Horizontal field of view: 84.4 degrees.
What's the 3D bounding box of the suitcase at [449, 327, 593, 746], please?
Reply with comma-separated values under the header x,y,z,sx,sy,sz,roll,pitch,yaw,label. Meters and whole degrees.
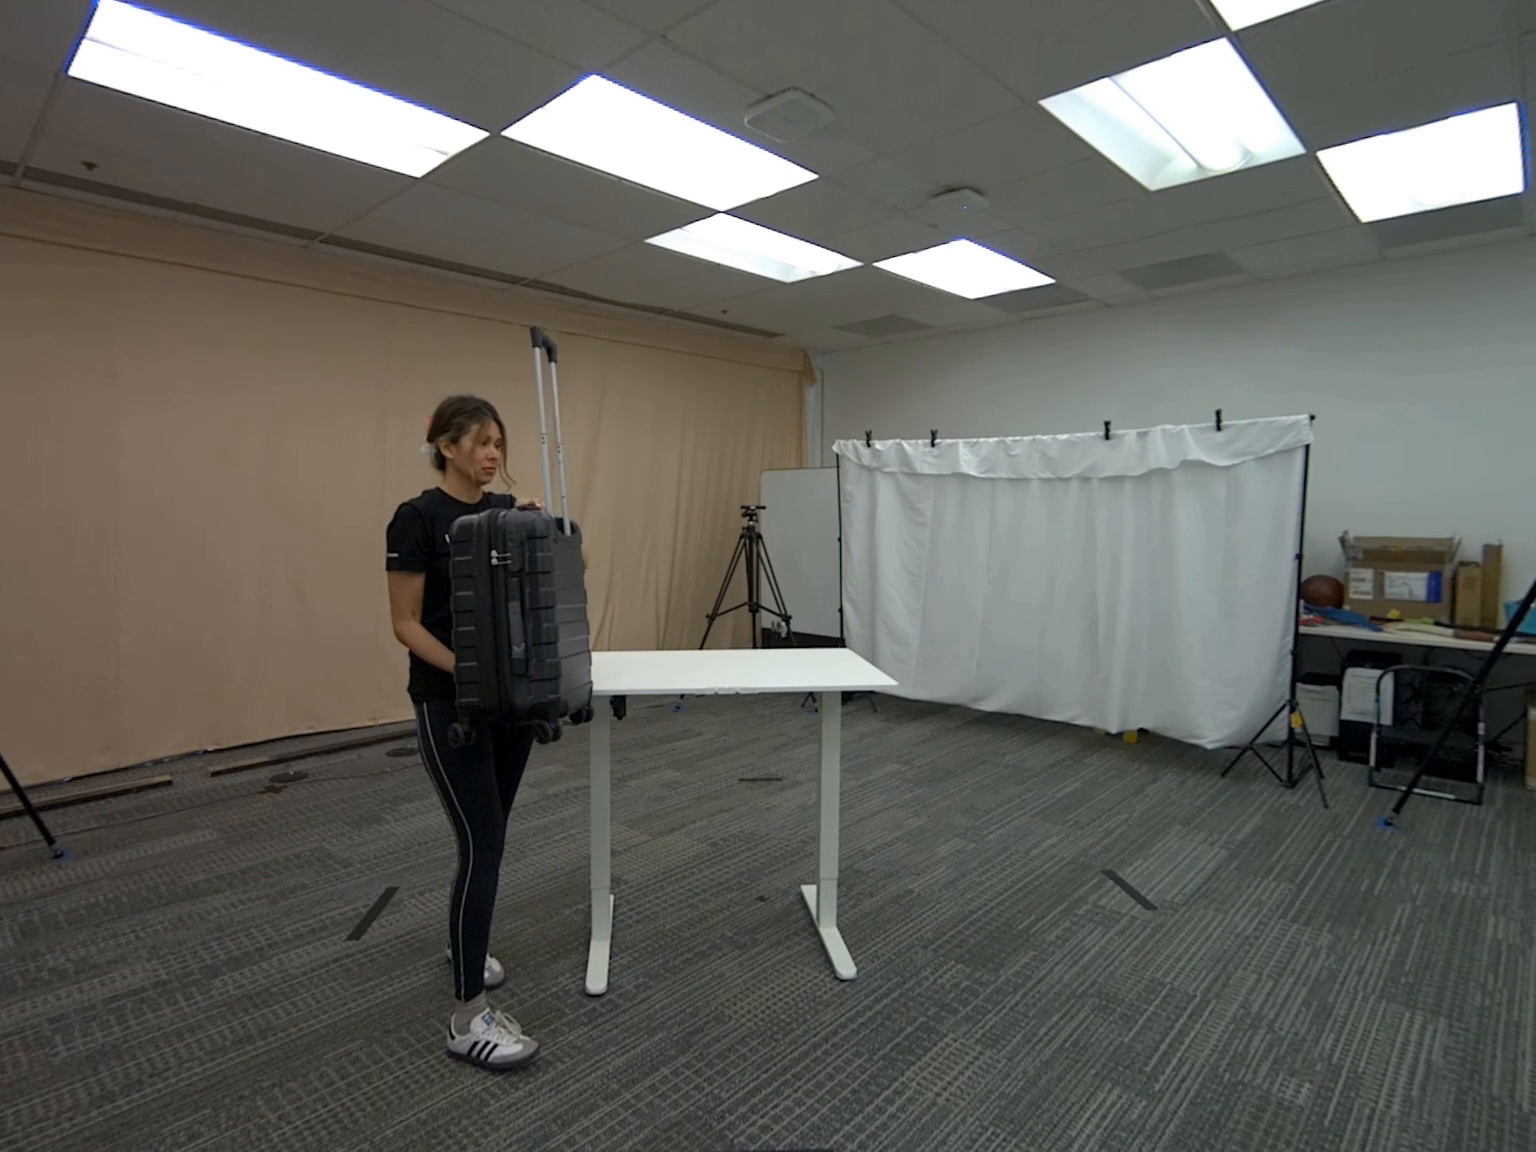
x,y,z,sx,sy,sz,roll,pitch,yaw,label
-0.616,-0.102,2.076,0.259,0.982,0.380,-5,-4,5,suitcase
